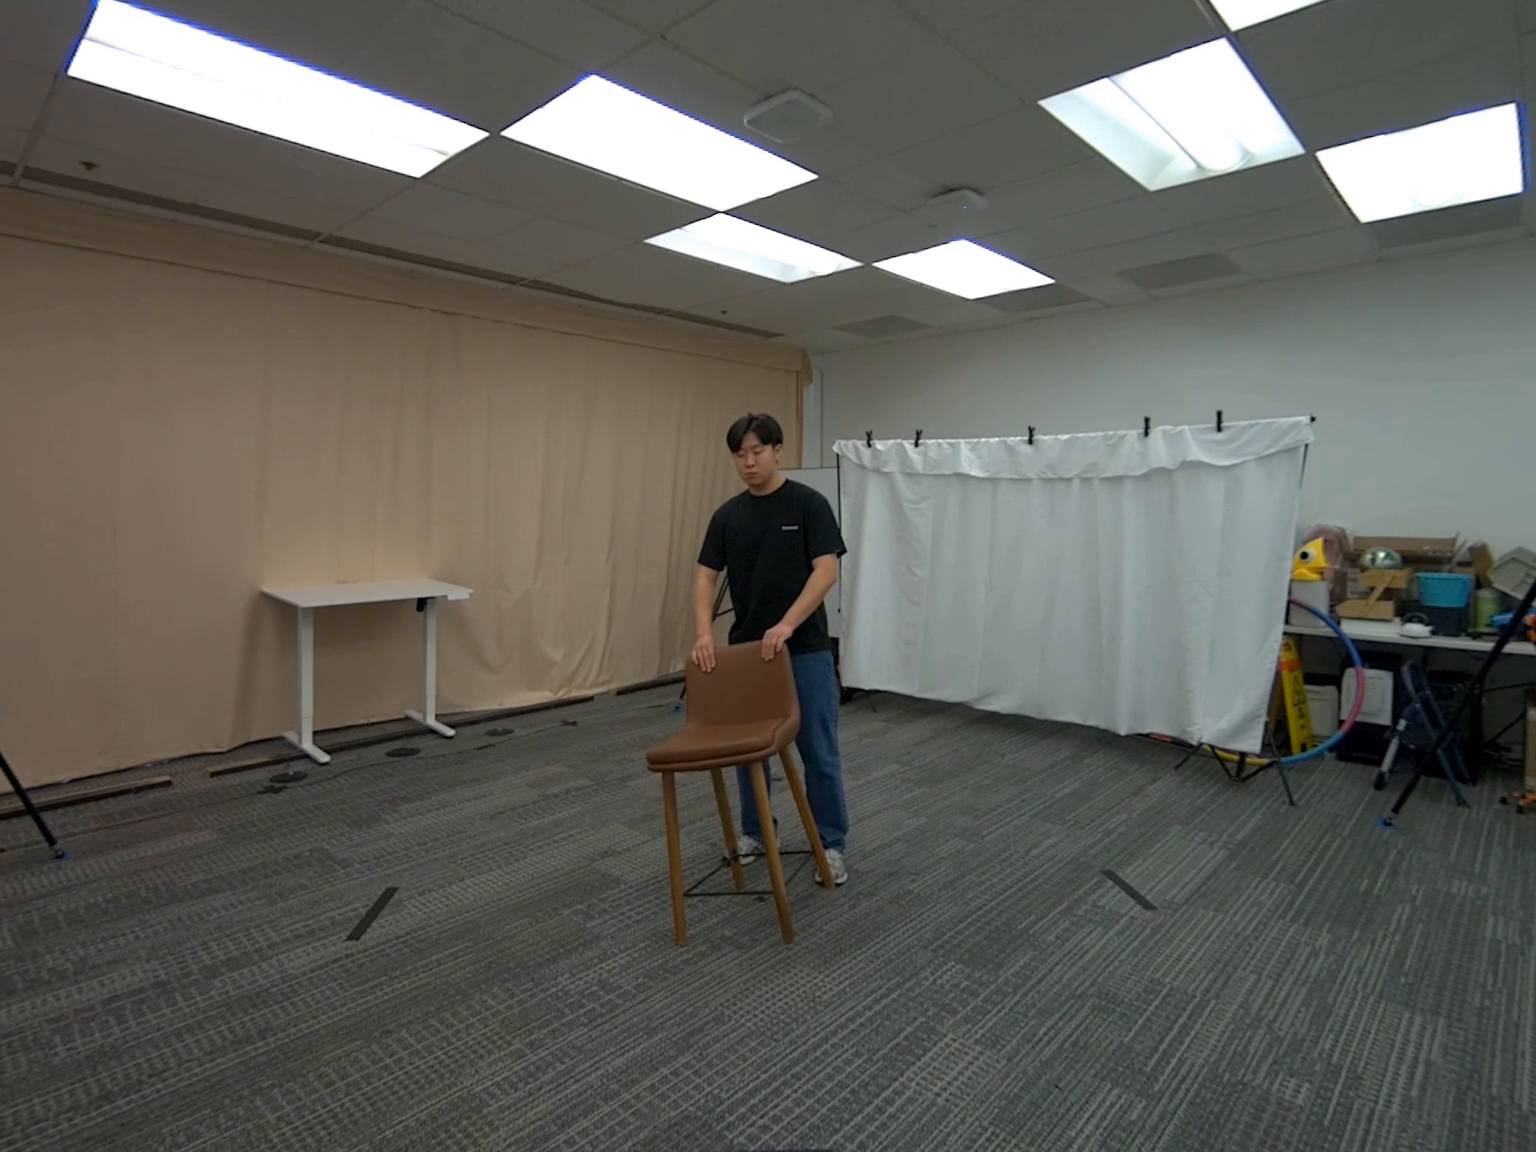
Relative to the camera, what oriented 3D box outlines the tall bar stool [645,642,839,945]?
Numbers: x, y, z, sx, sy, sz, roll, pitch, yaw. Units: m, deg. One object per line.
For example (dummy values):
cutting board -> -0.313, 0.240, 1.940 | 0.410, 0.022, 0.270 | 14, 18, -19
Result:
tall bar stool -> -0.108, 0.692, 2.812 | 0.466, 0.894, 0.455 | -13, -6, 26
